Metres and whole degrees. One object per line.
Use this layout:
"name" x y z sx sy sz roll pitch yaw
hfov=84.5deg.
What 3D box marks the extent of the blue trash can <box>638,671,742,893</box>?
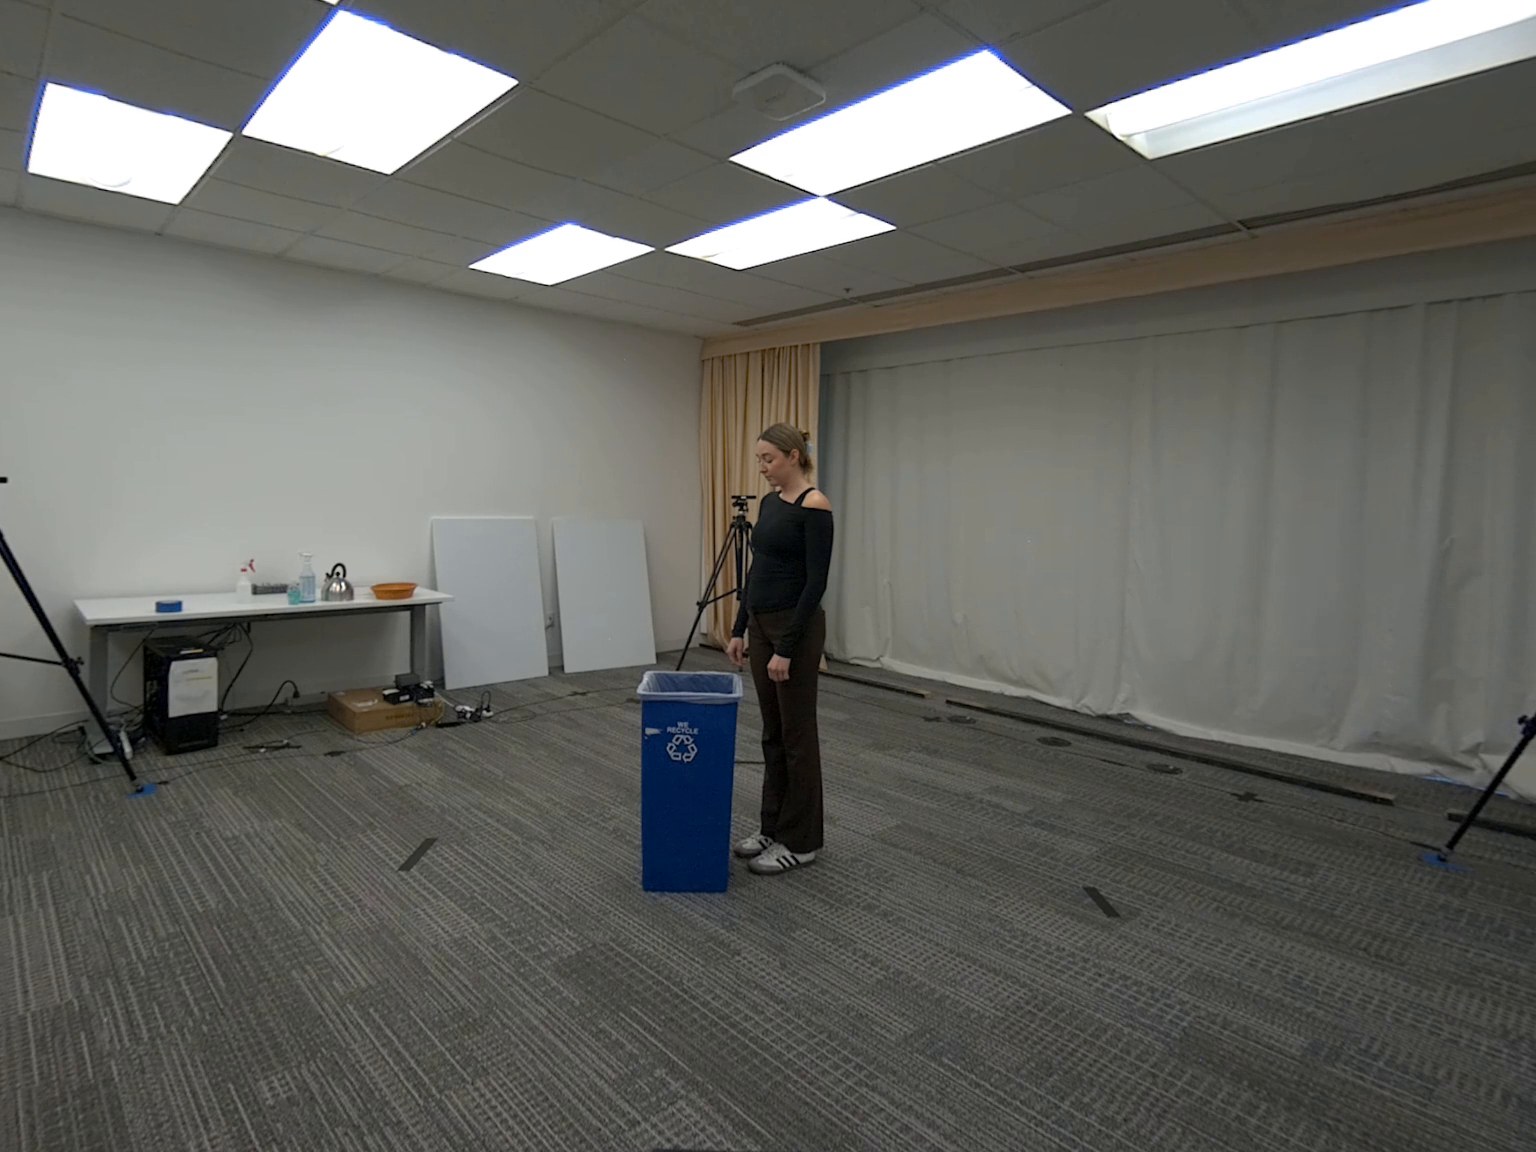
"blue trash can" -0.291 0.742 3.083 0.374 0.711 0.379 1 4 -1
